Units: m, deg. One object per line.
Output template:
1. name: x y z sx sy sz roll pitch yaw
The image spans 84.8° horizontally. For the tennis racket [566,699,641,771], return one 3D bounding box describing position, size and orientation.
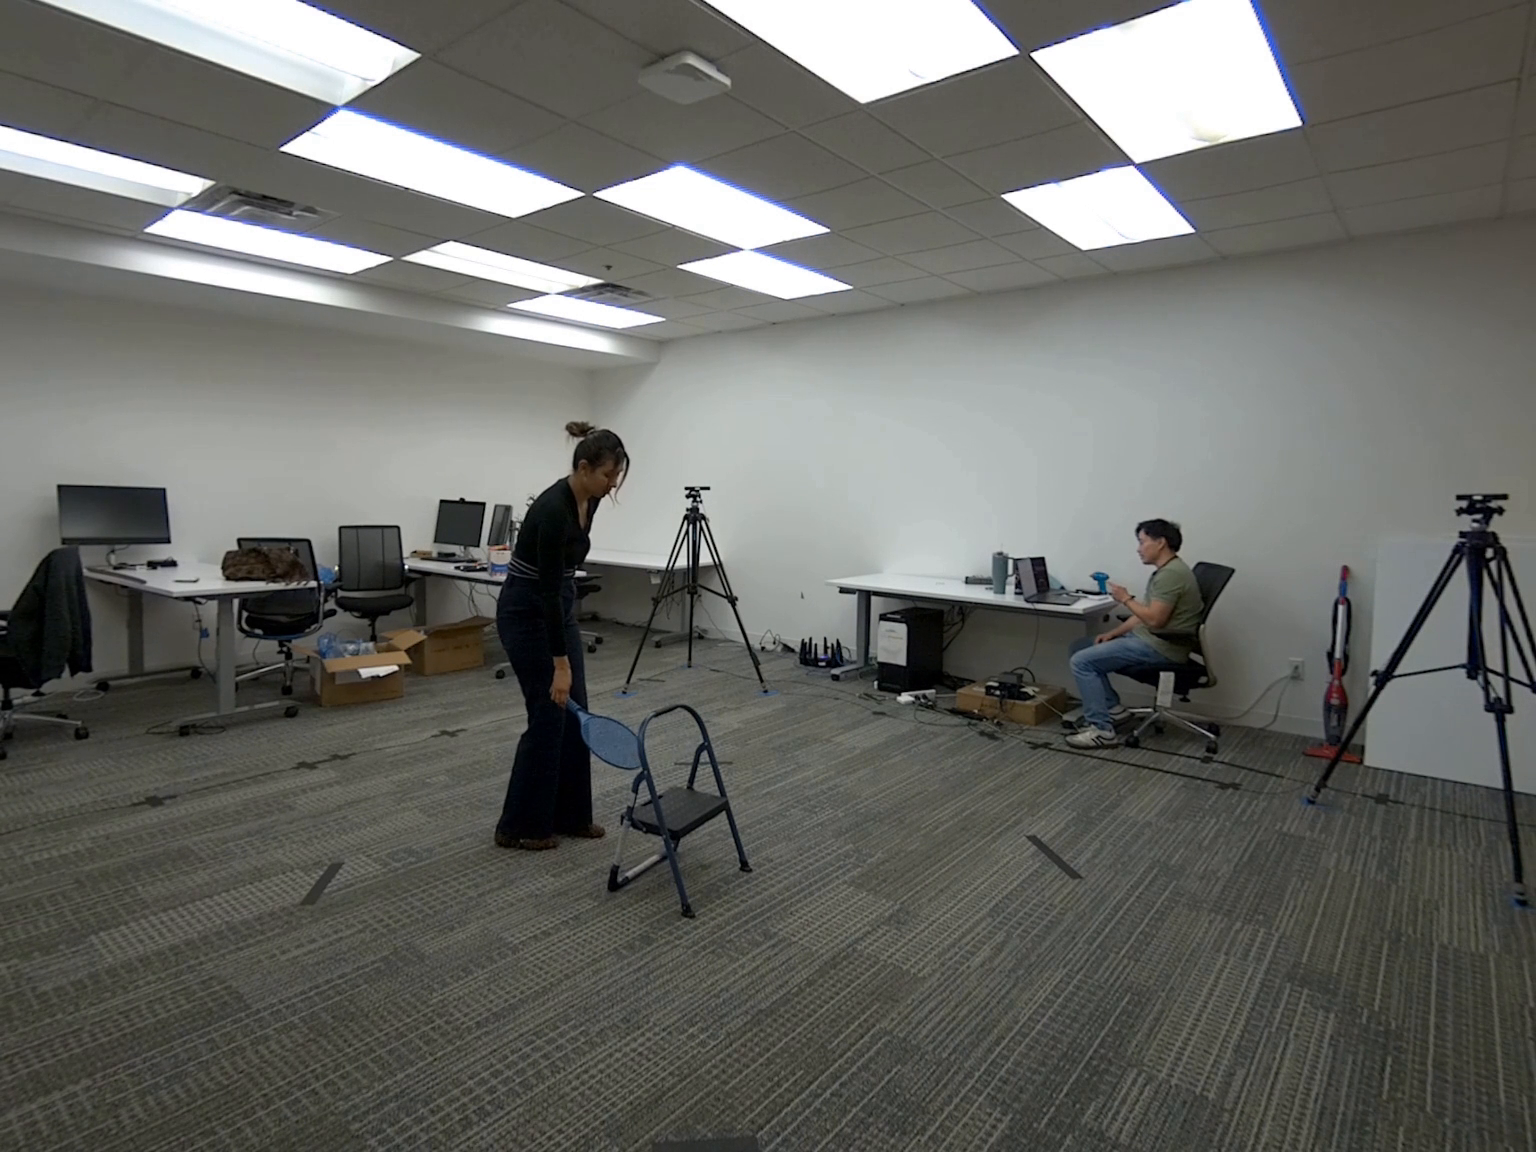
1. tennis racket: -0.616 0.553 3.054 0.445 0.031 0.210 34 29 19
